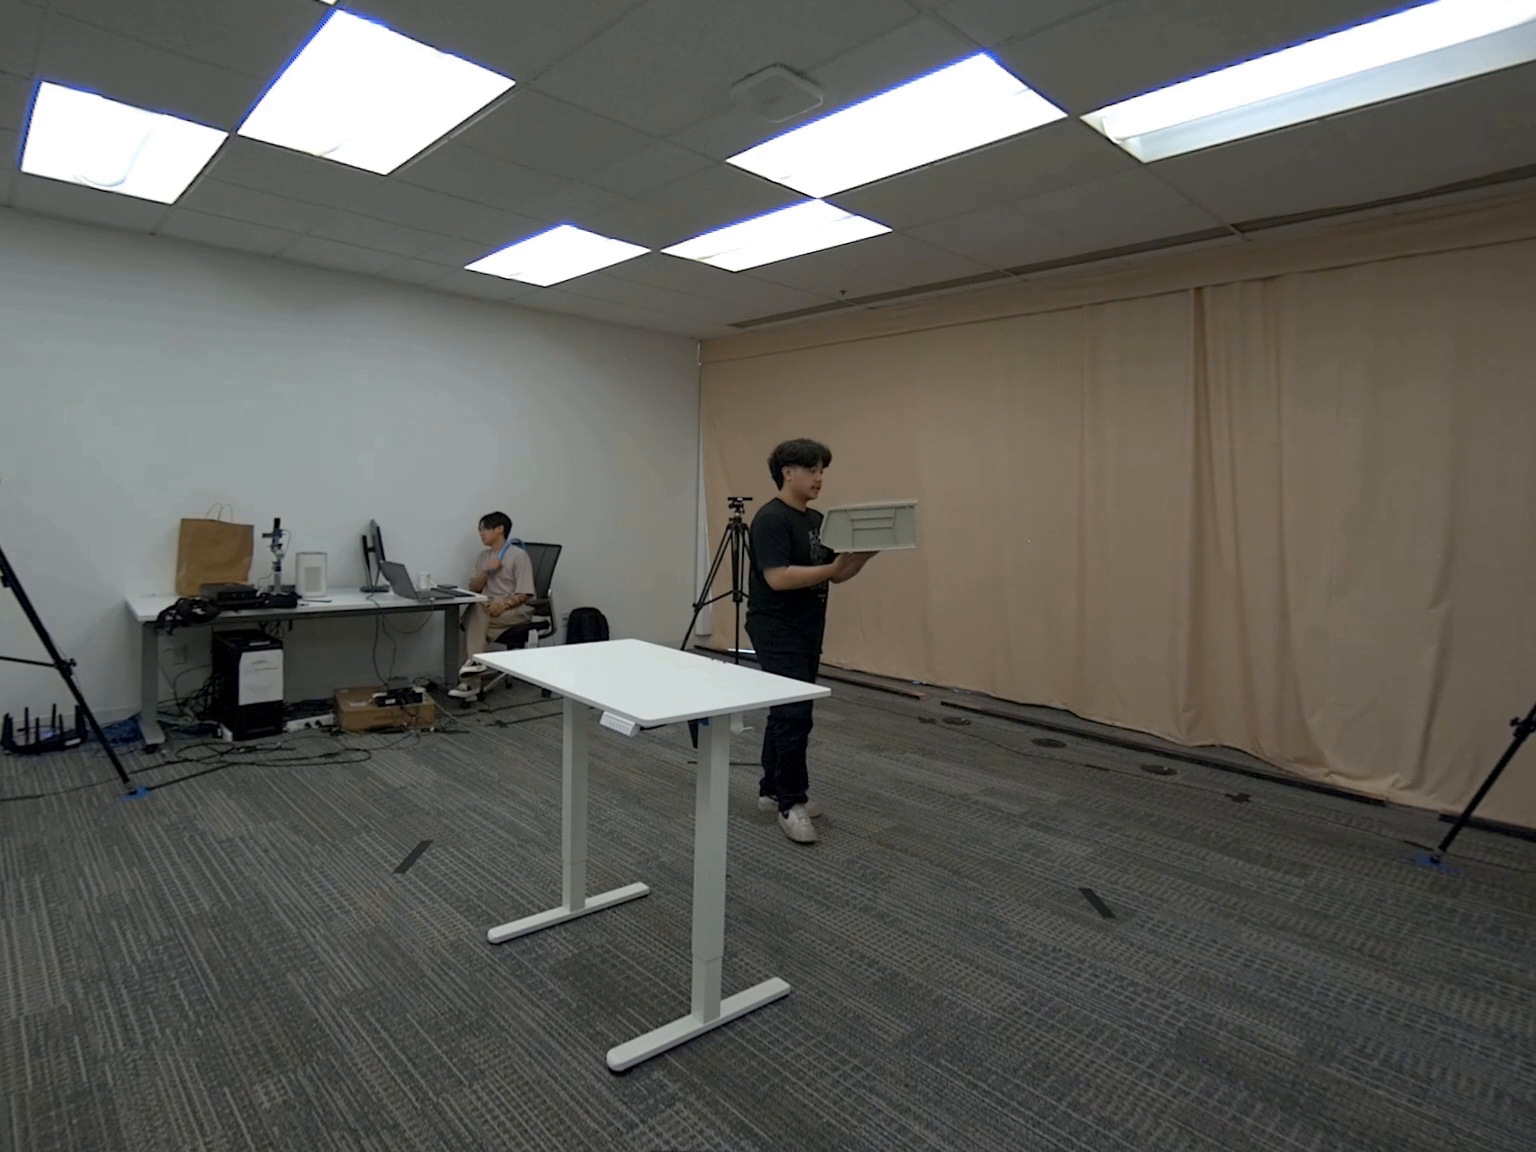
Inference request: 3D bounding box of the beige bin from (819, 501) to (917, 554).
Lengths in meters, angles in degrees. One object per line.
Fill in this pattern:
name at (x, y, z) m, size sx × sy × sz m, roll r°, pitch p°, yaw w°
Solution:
beige bin at (0.419, -0.210, 3.466) m, size 0.381 × 0.188 × 0.420 m, roll -2°, pitch 5°, yaw 11°
